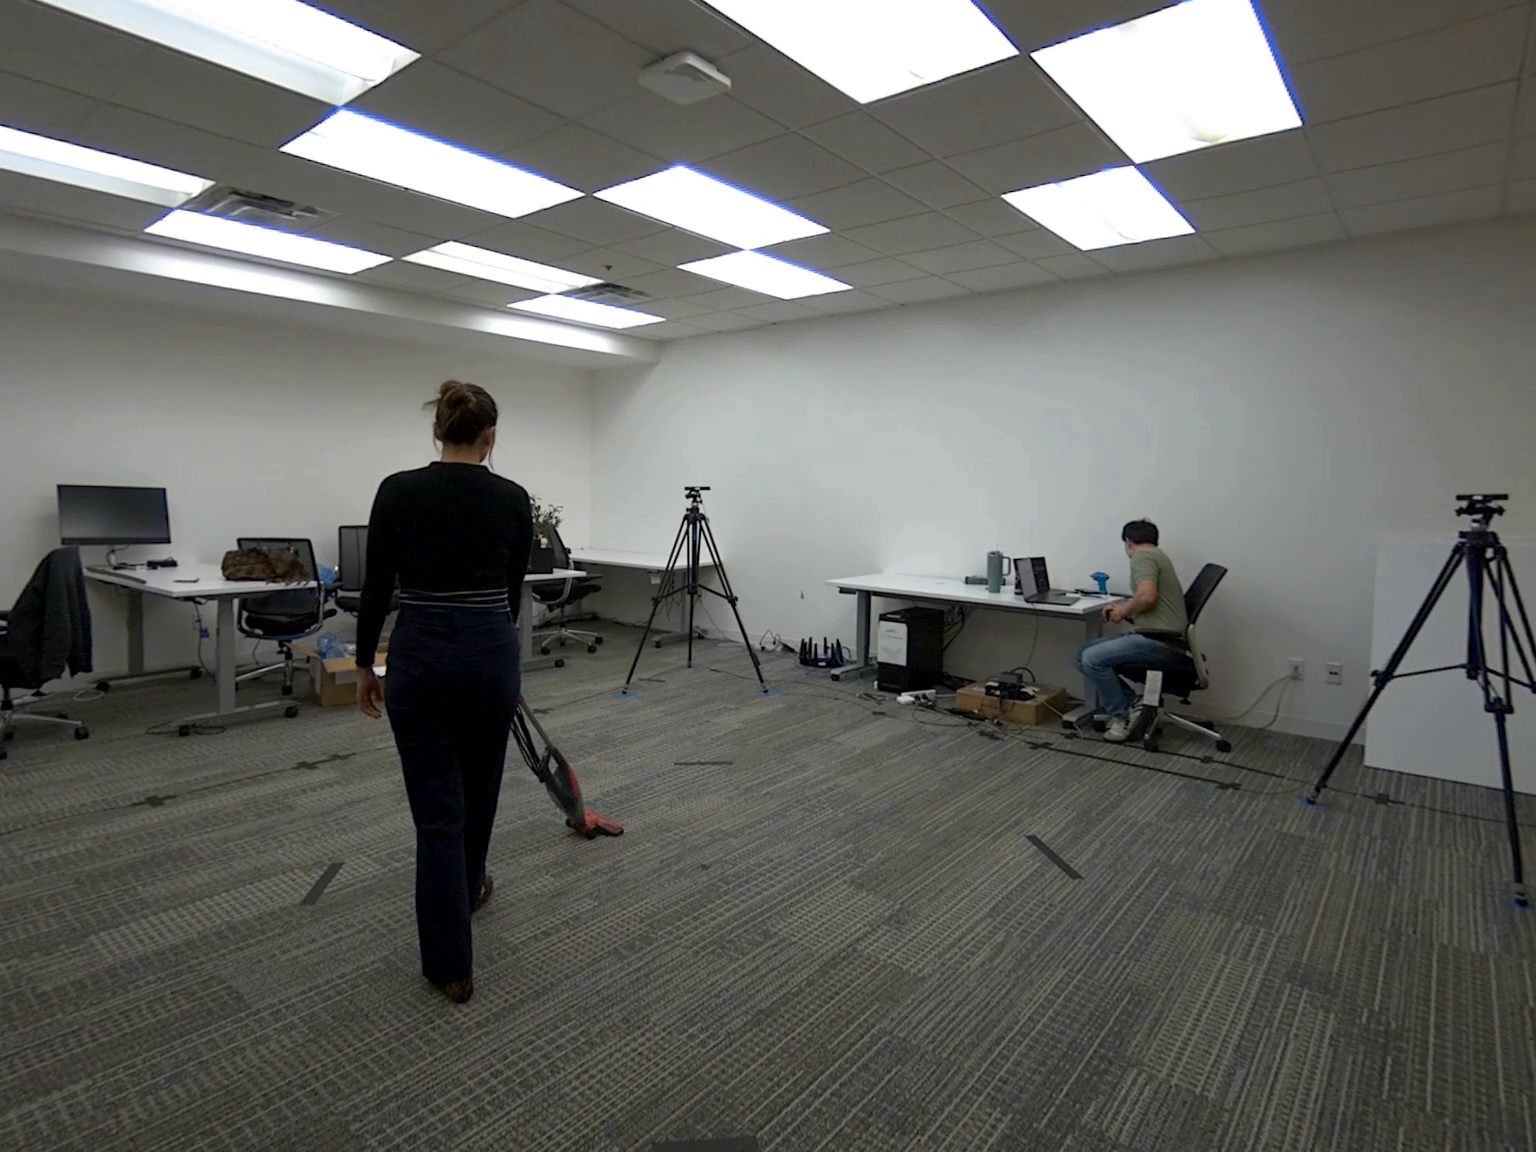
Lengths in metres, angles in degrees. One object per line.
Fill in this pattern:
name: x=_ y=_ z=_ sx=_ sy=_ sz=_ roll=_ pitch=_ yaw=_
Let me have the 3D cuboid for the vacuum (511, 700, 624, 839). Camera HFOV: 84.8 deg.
vacuum: x=-0.818 y=0.655 z=3.083 sx=0.260 sy=1.011 sz=0.145 roll=12 pitch=50 yaw=26
